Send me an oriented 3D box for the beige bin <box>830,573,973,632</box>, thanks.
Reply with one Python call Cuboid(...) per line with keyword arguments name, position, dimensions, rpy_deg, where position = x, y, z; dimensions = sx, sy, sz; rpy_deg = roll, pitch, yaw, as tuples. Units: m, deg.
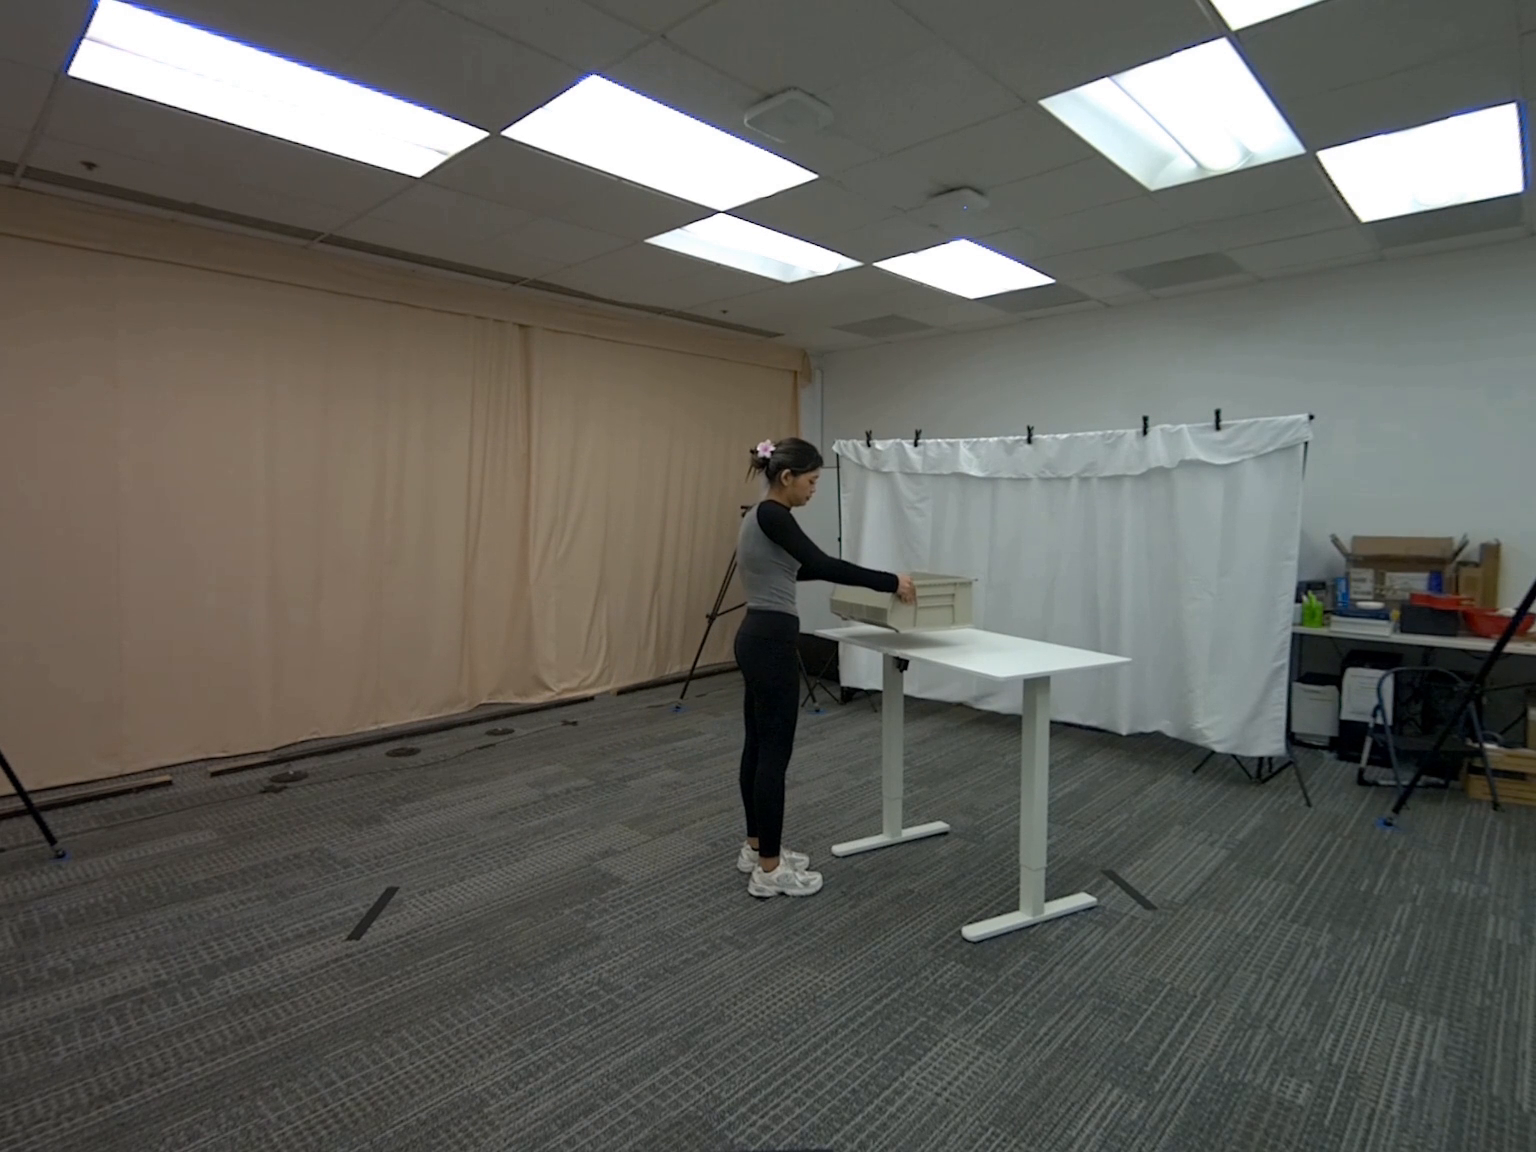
Cuboid(name="beige bin", position=(0.496, 0.090, 3.157), dimensions=(0.370, 0.189, 0.432), rpy_deg=(0, 3, -21))
